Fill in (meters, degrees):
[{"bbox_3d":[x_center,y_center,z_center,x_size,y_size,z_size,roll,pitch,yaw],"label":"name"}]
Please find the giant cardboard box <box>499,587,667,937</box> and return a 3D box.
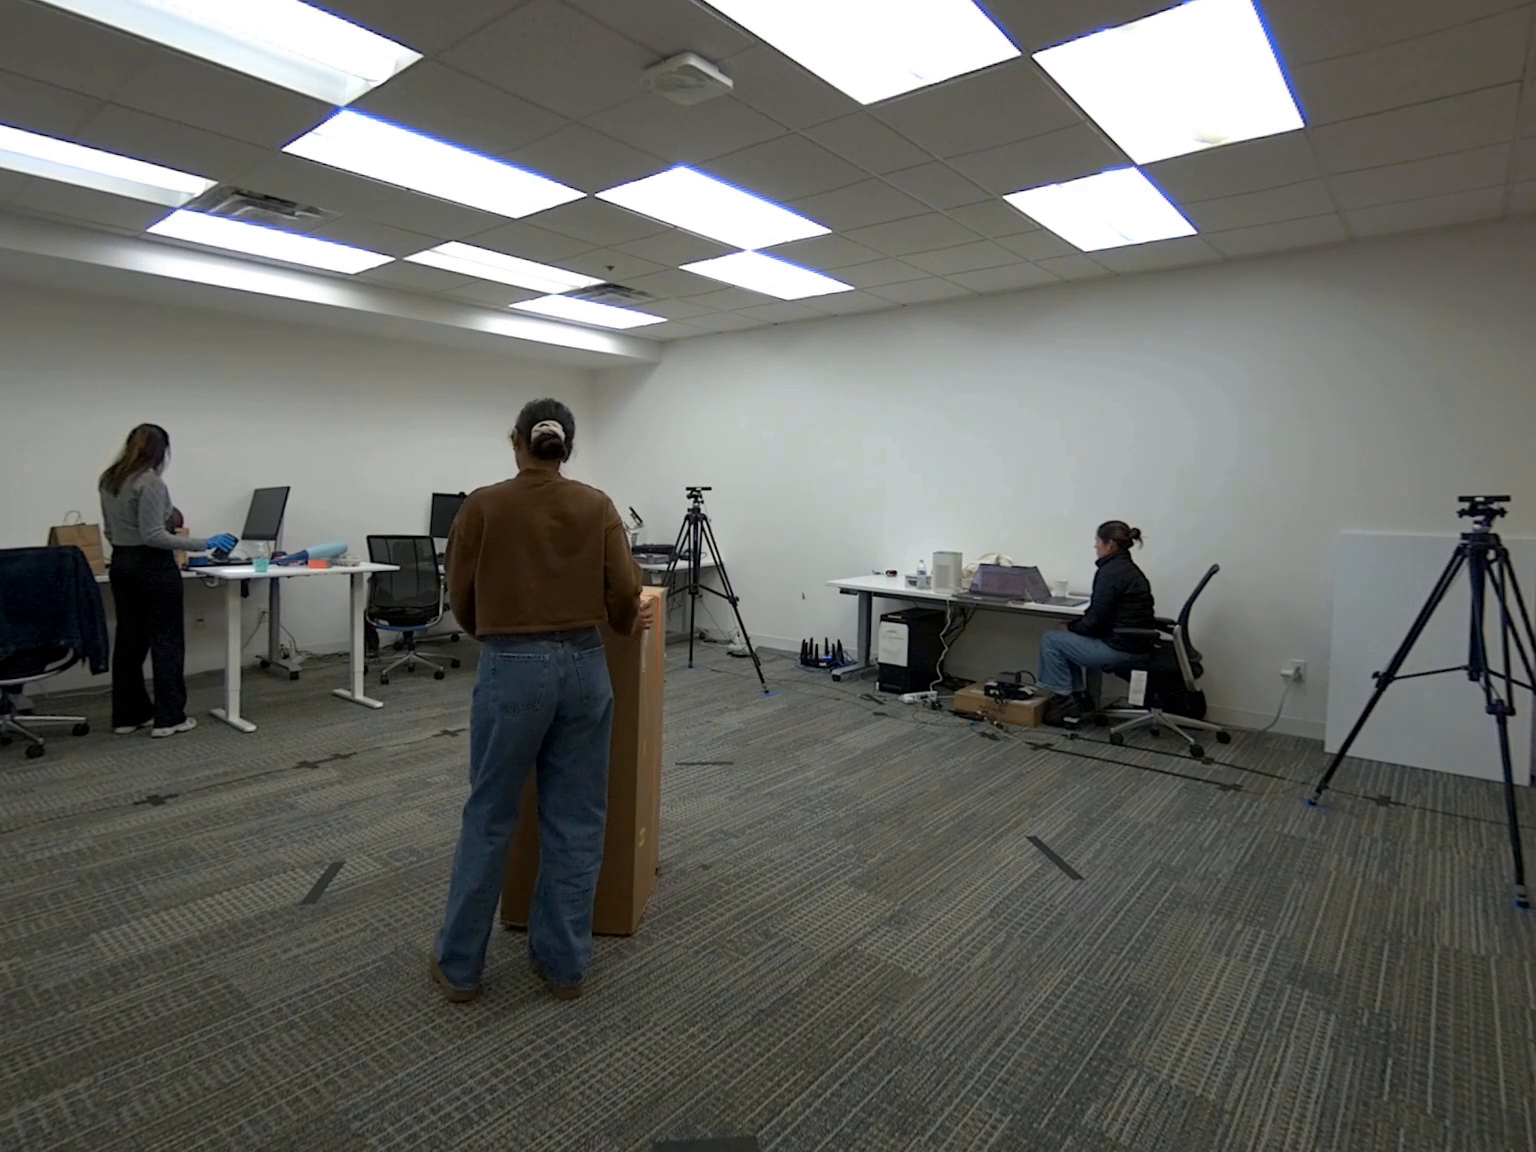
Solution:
[{"bbox_3d":[-0.608,0.567,2.901,0.428,1.025,0.576,2,1,2],"label":"giant cardboard box"}]
